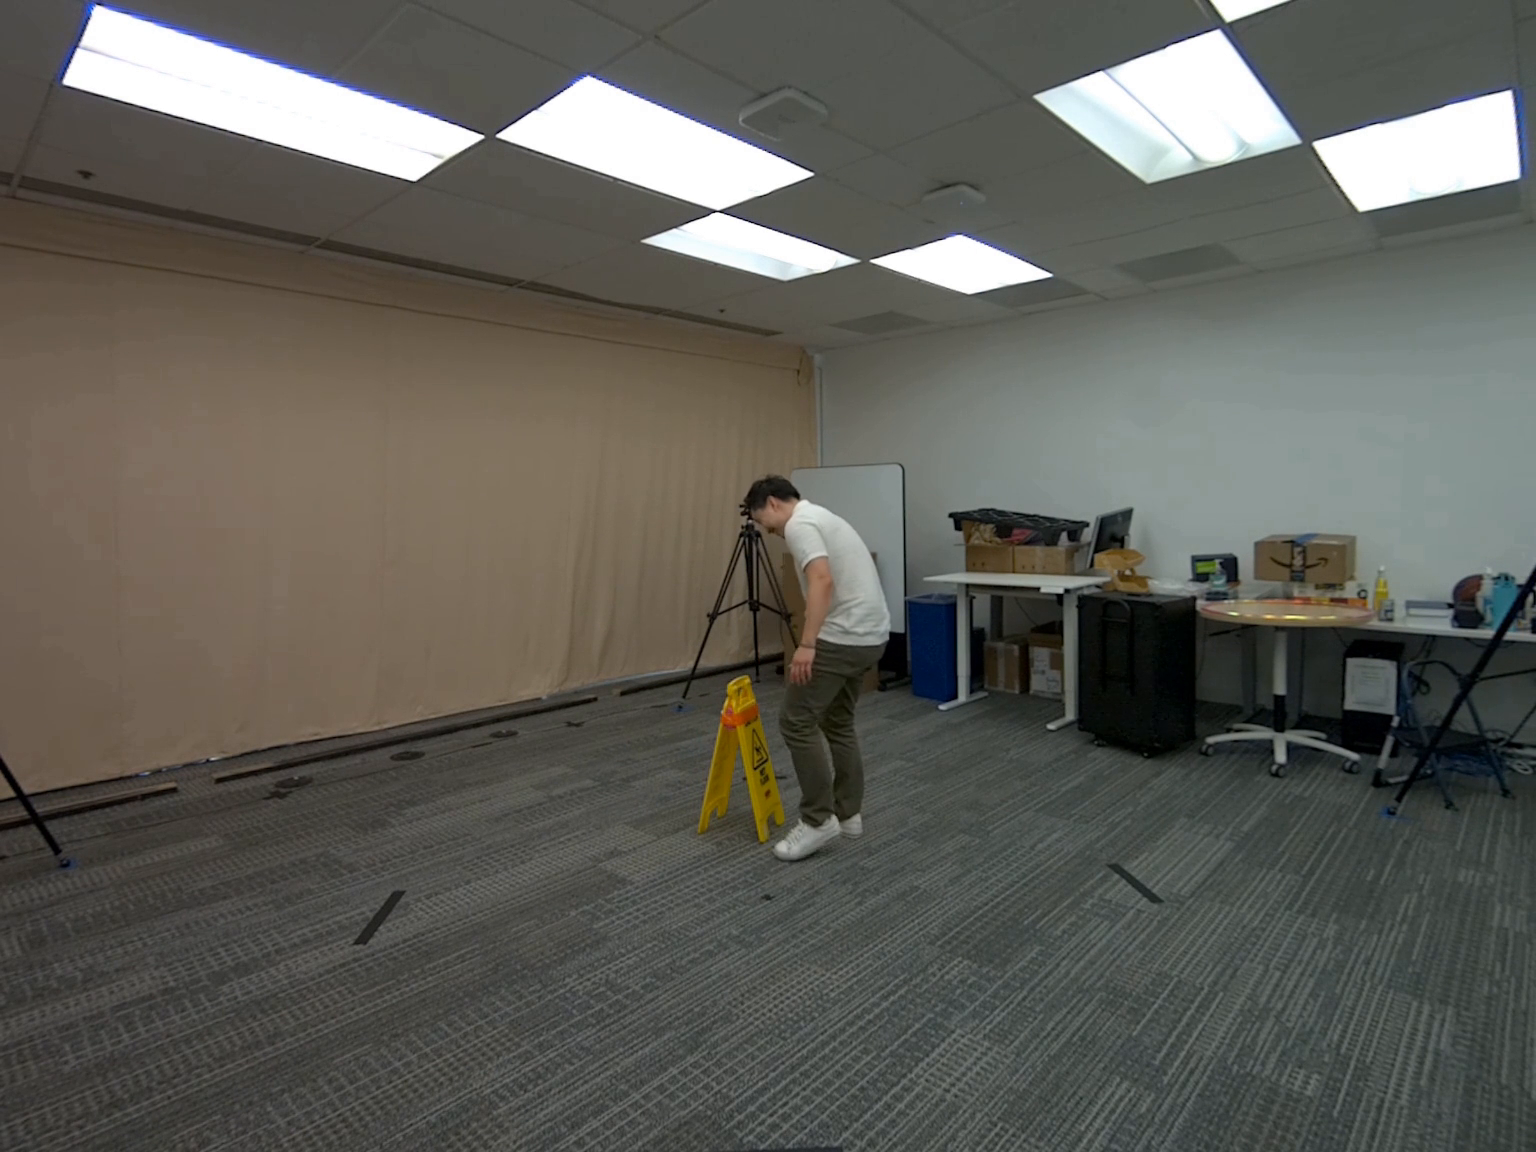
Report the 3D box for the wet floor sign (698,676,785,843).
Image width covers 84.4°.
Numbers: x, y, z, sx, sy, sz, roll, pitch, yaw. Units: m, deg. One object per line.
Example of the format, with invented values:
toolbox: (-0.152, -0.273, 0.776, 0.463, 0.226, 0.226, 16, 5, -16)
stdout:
wet floor sign: (-0.119, 0.765, 3.628, 0.296, 0.645, 0.276, 0, 2, 22)
